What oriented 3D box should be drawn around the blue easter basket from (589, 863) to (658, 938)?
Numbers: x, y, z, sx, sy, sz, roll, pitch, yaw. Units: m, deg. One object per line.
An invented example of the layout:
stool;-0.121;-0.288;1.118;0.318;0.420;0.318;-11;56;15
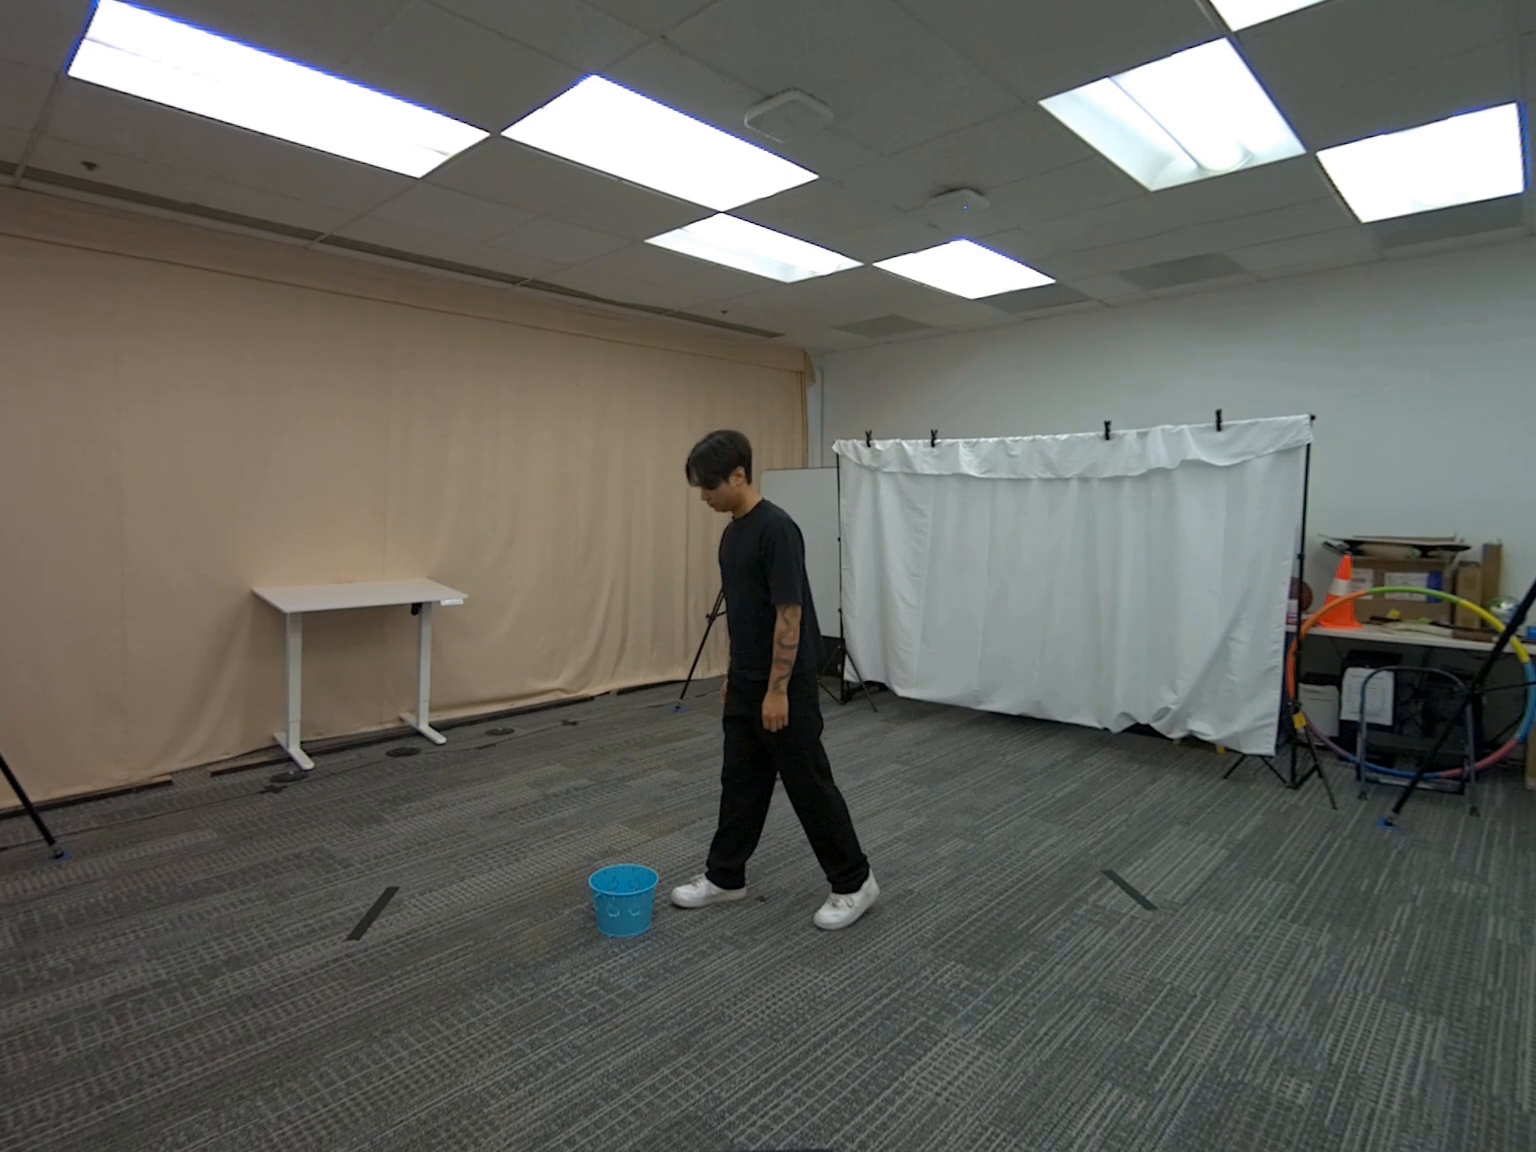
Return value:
blue easter basket;-0.483;1.083;2.816;0.243;0.155;0.244;0;5;-2
